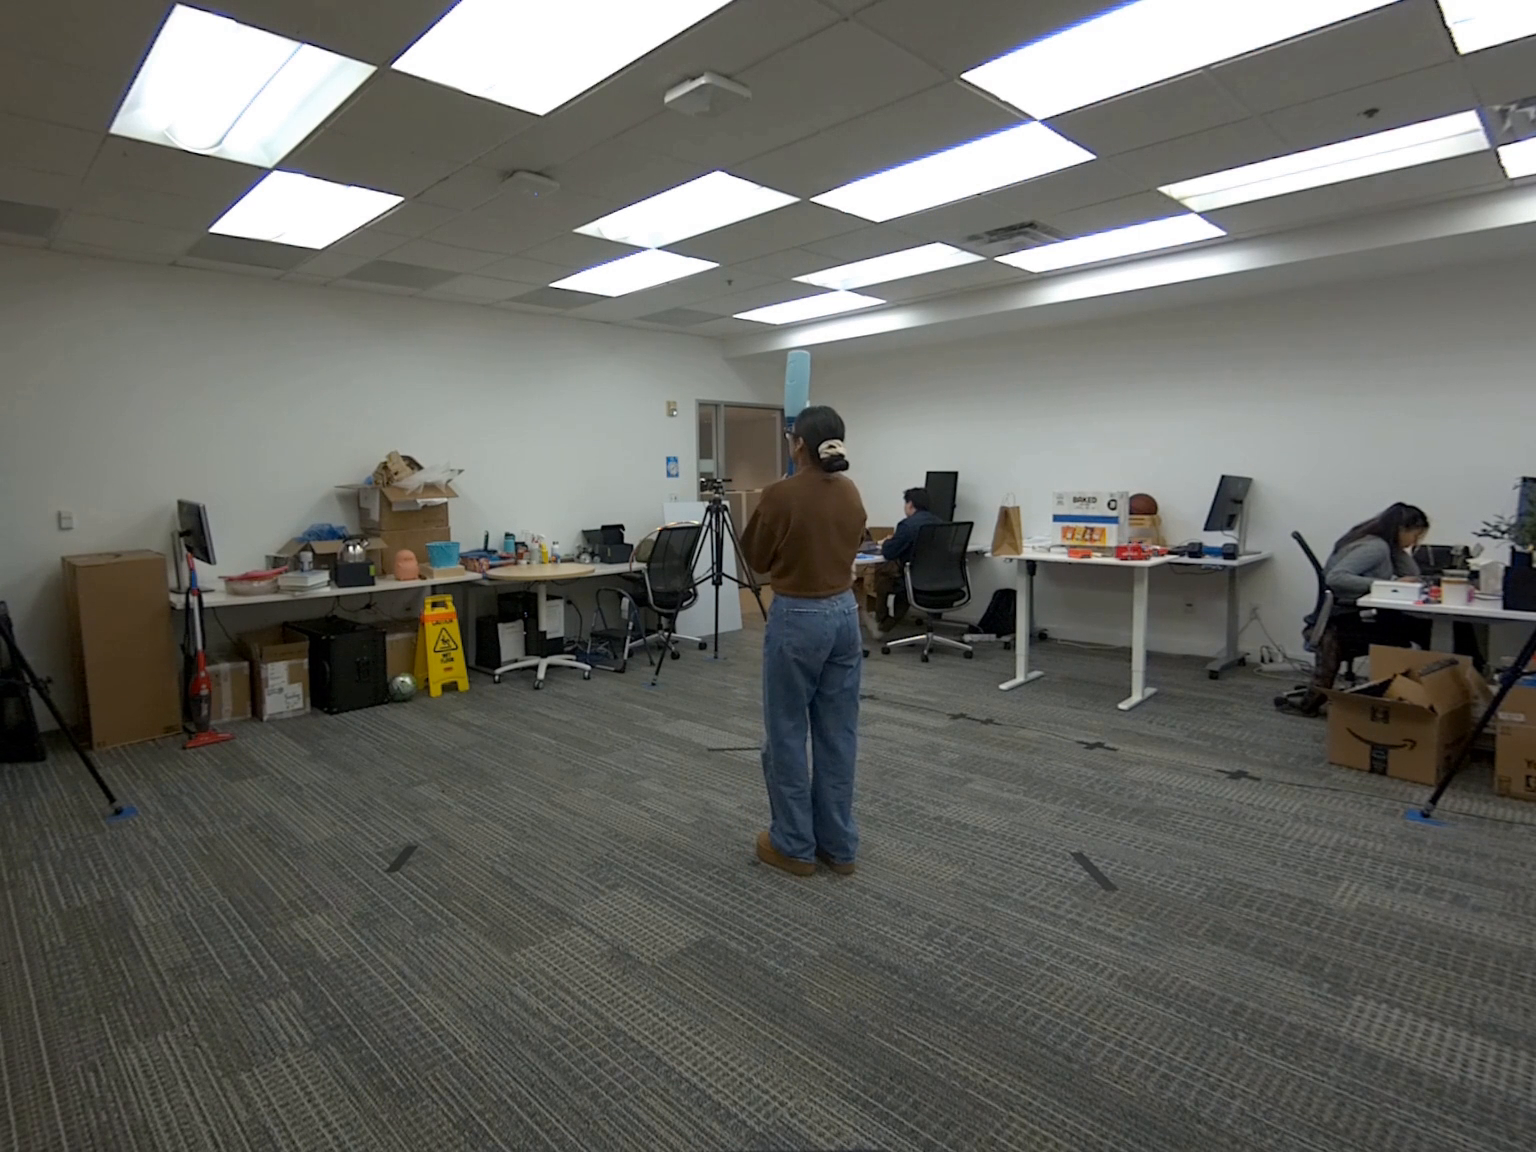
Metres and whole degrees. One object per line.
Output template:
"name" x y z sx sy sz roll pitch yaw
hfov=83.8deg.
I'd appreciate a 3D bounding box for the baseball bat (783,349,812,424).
"baseball bat" 0.105 -0.573 3.185 0.089 0.544 0.089 3 -2 -2
